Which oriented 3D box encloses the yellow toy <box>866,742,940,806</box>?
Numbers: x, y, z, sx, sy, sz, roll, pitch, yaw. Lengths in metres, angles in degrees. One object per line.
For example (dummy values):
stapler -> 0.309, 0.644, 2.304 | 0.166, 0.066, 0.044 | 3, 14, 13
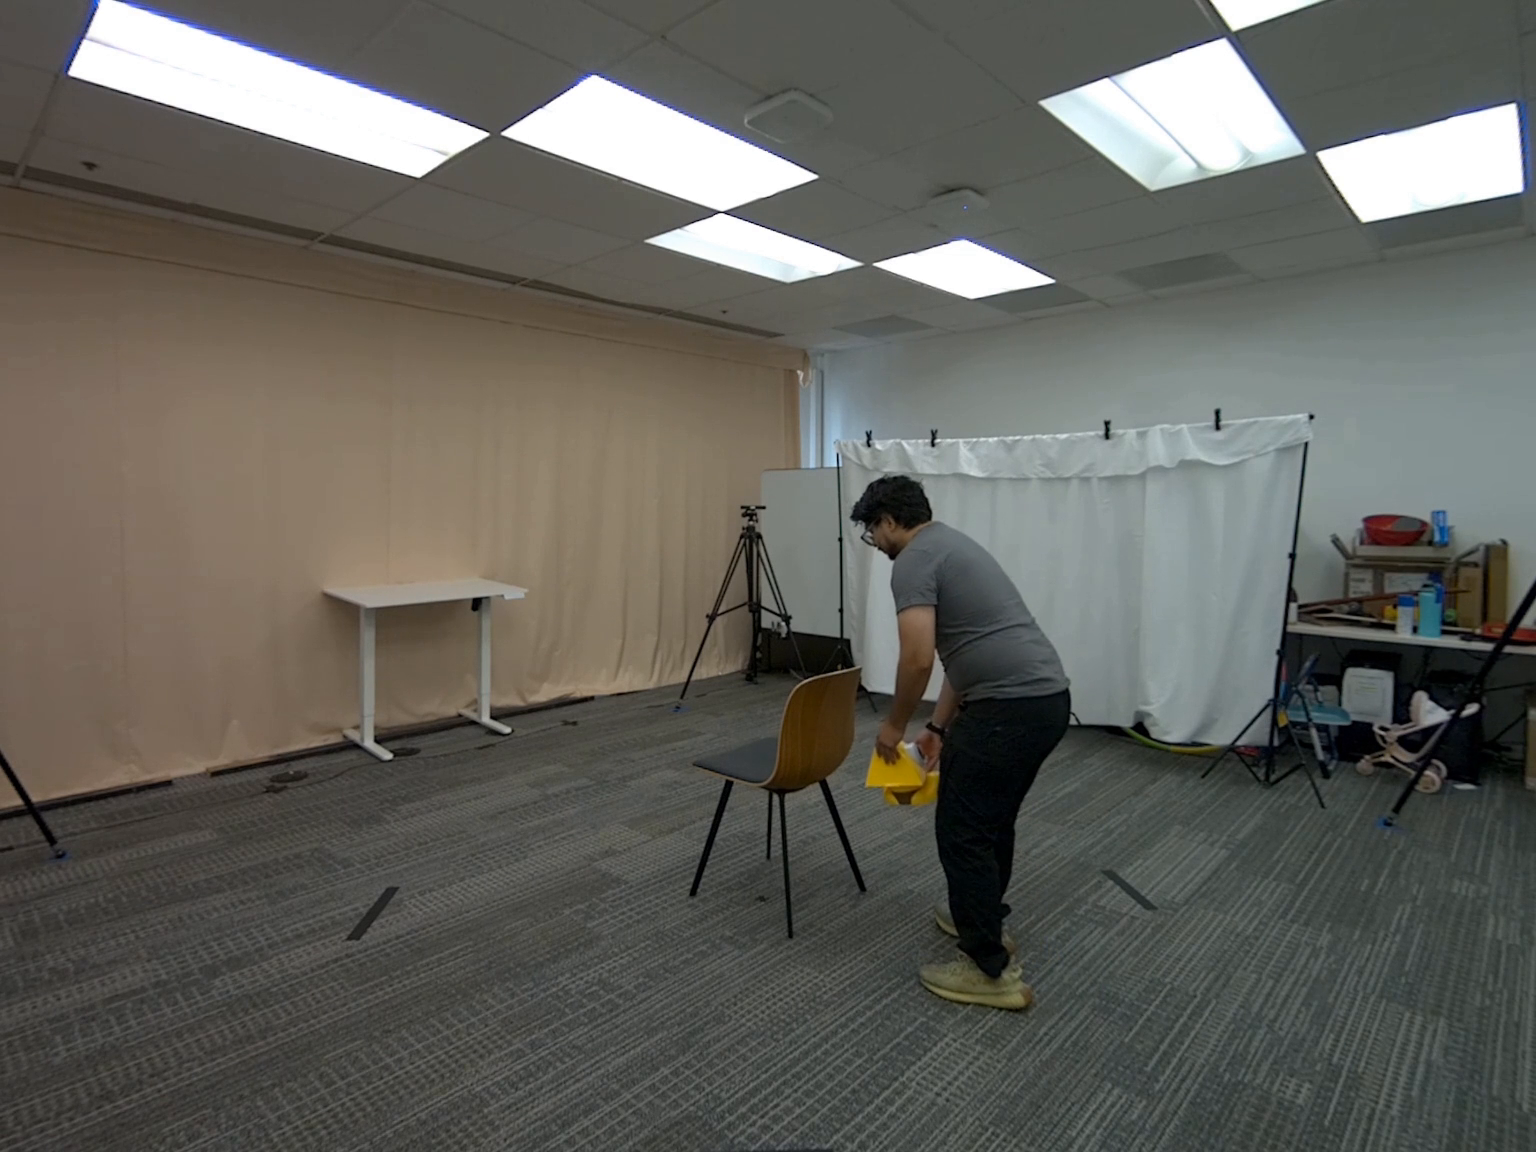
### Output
yellow toy -> 0.428, 0.575, 2.633 | 0.210, 0.229, 0.189 | -15, 10, 40
